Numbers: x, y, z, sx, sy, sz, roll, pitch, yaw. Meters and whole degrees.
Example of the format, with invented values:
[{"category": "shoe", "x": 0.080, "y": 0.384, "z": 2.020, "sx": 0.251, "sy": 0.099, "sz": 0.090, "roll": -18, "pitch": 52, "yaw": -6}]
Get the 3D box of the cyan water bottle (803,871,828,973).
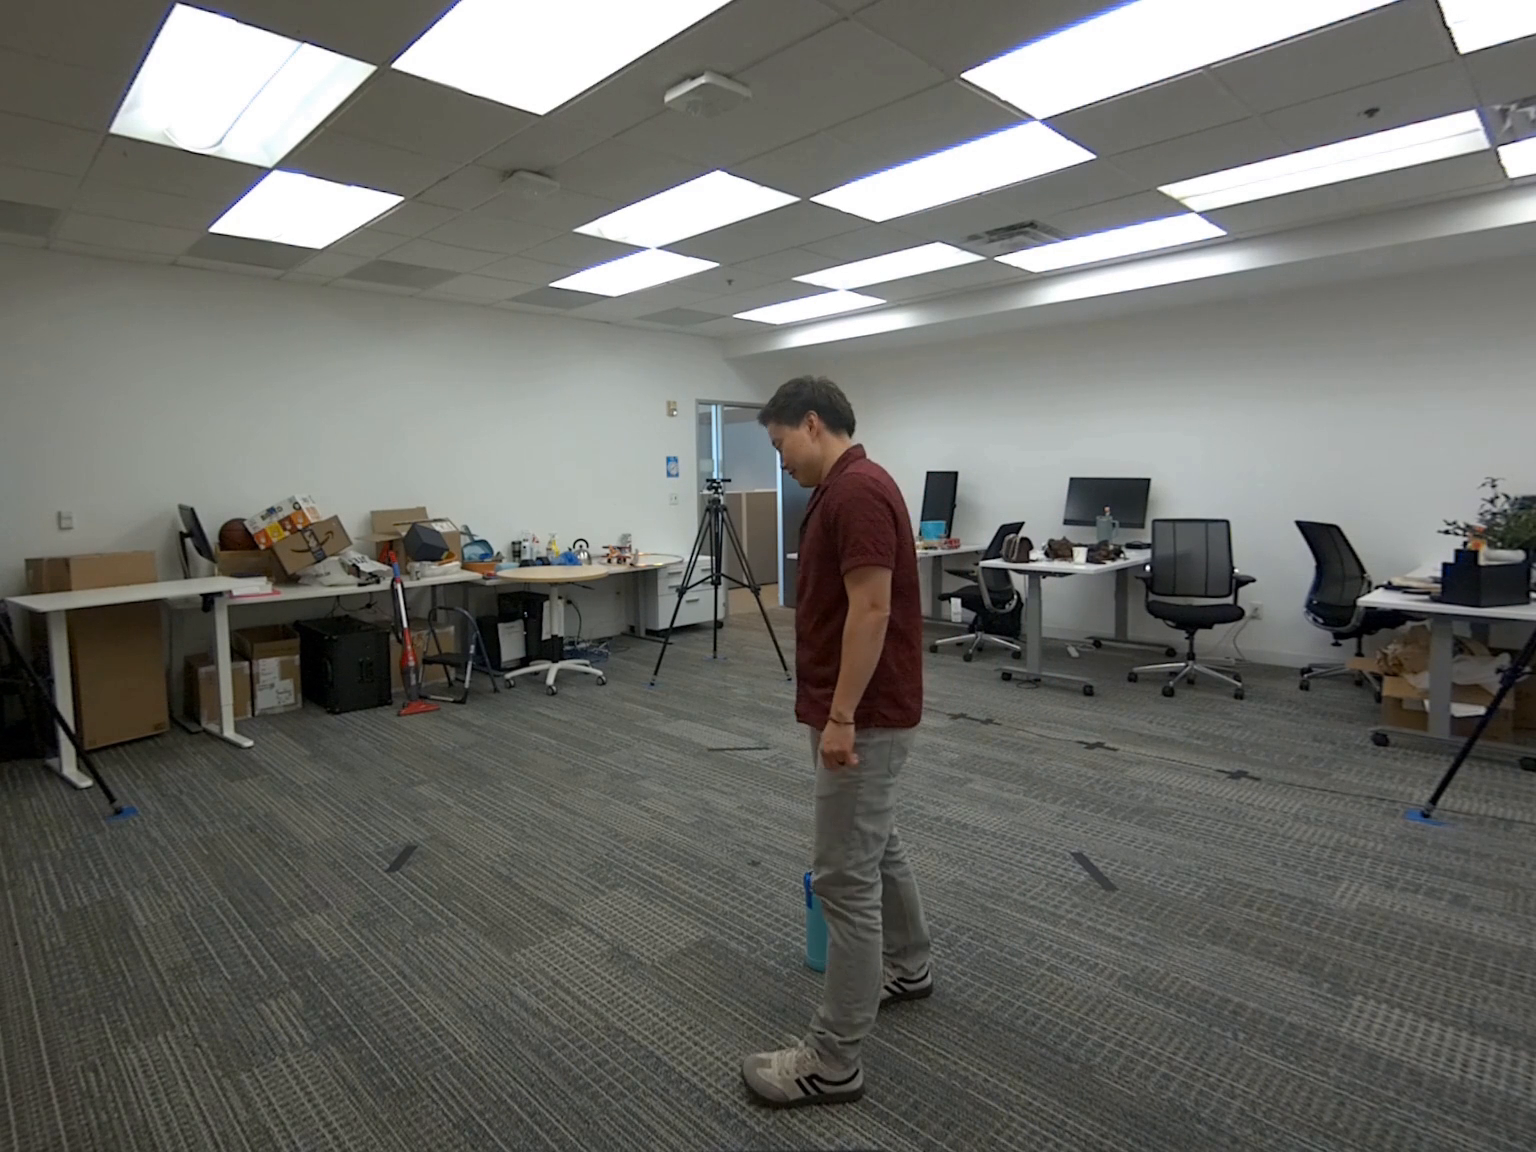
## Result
[{"category": "cyan water bottle", "x": 0.167, "y": 0.983, "z": 2.446, "sx": 0.092, "sy": 0.282, "sz": 0.093, "roll": -1, "pitch": 3, "yaw": -2}]
